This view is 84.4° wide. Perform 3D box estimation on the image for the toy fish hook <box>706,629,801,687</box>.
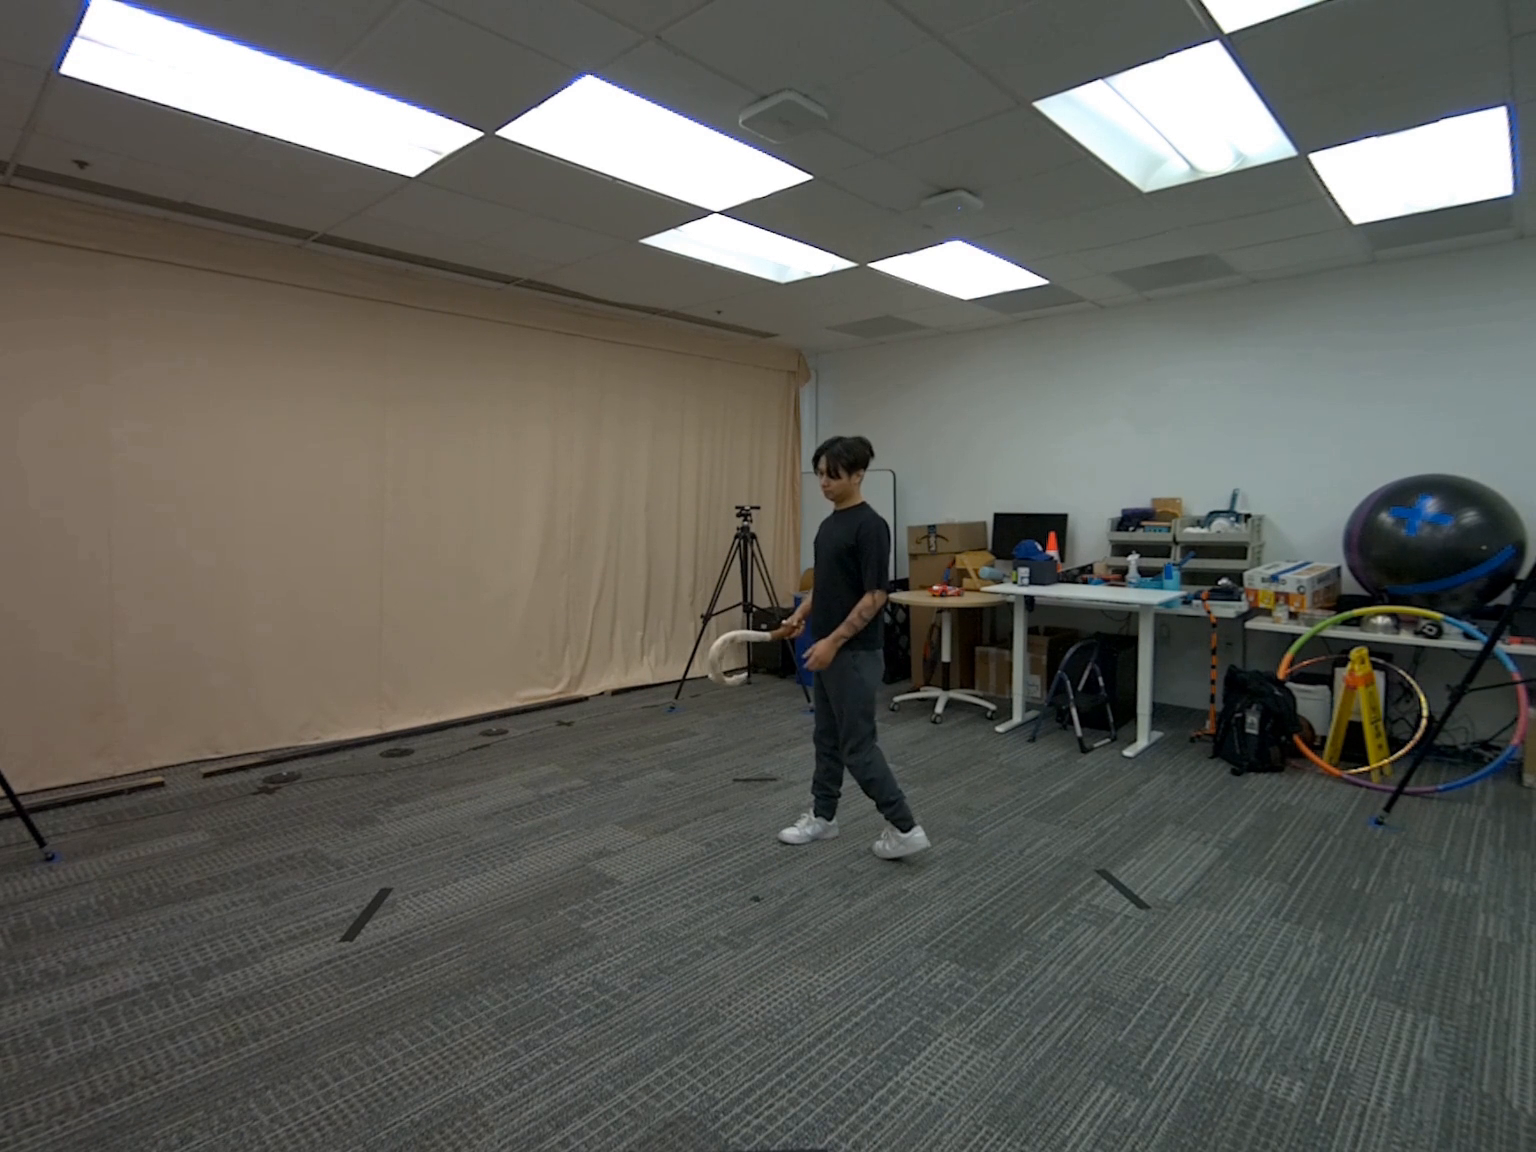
[{"bbox_3d":[-0.032,0.309,3.339,0.493,0.222,0.050,-13,27,-37],"label":"toy fish hook"}]
